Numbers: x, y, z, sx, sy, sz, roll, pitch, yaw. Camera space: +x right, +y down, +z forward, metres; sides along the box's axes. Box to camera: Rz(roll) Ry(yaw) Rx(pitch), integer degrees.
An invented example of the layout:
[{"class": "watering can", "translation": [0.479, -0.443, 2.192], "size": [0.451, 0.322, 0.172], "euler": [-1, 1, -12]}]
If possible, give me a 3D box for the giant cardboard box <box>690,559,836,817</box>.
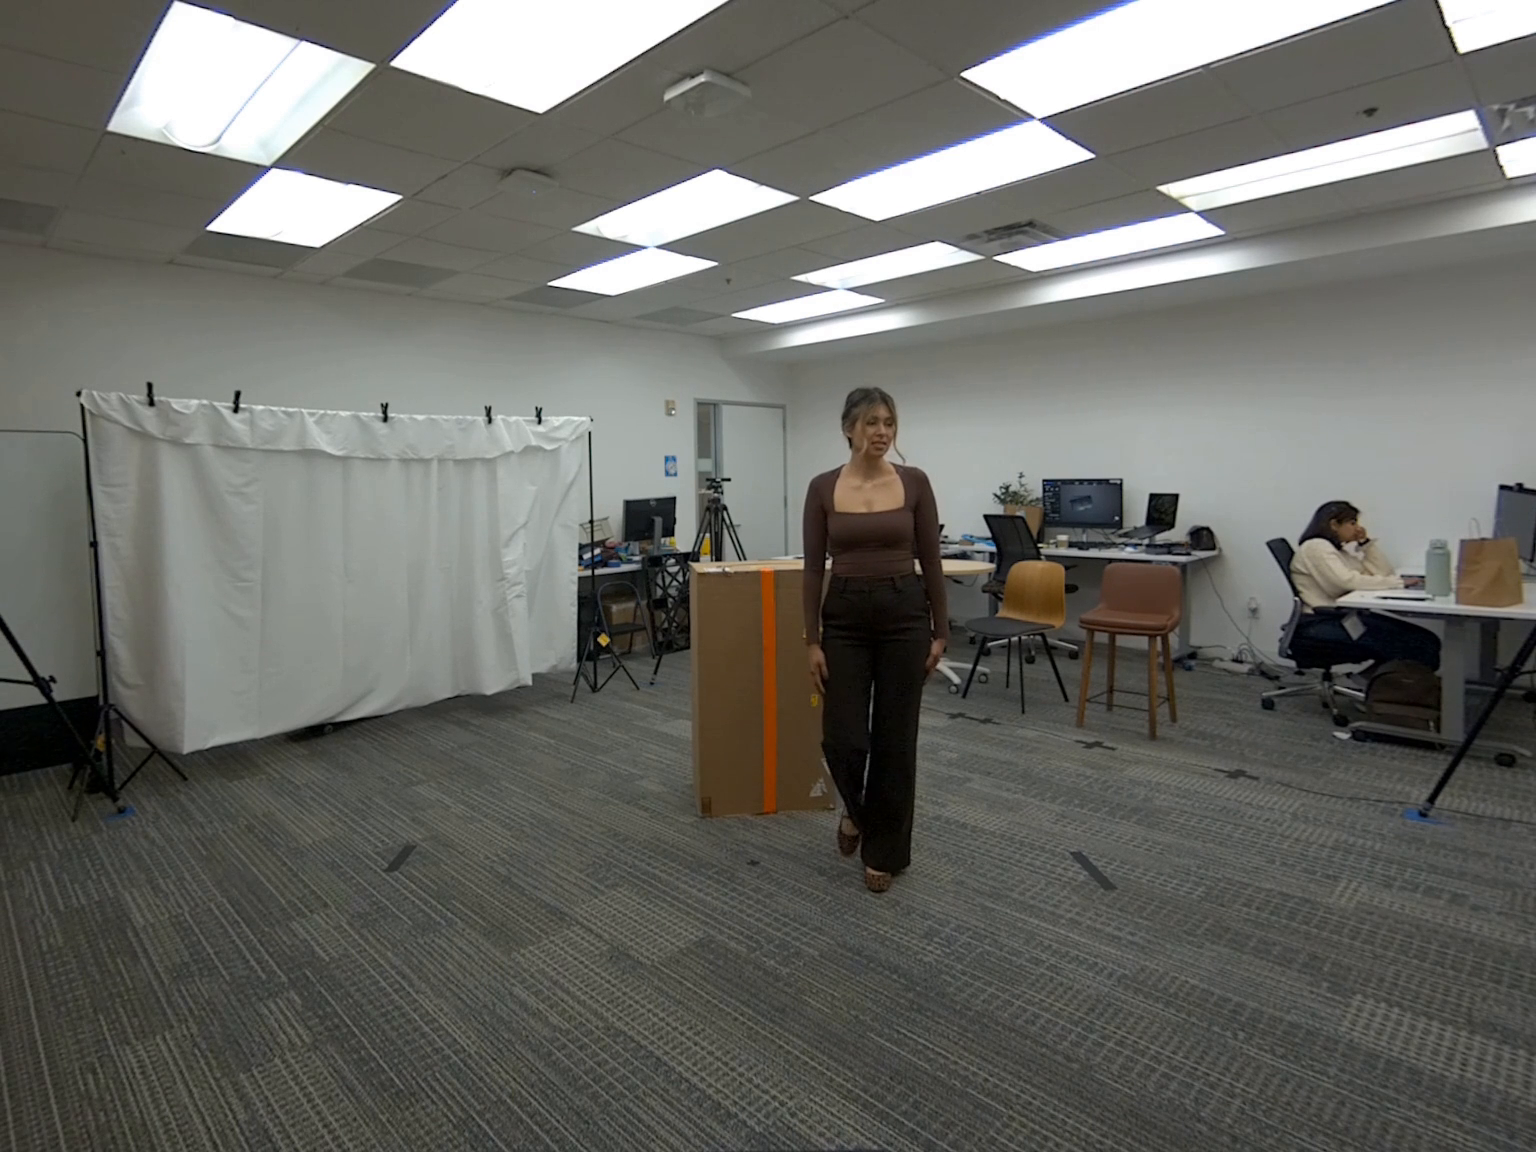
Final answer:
[{"class": "giant cardboard box", "translation": [-0.036, 0.455, 3.743], "size": [0.580, 1.023, 0.452], "euler": [-1, 4, -8]}]
